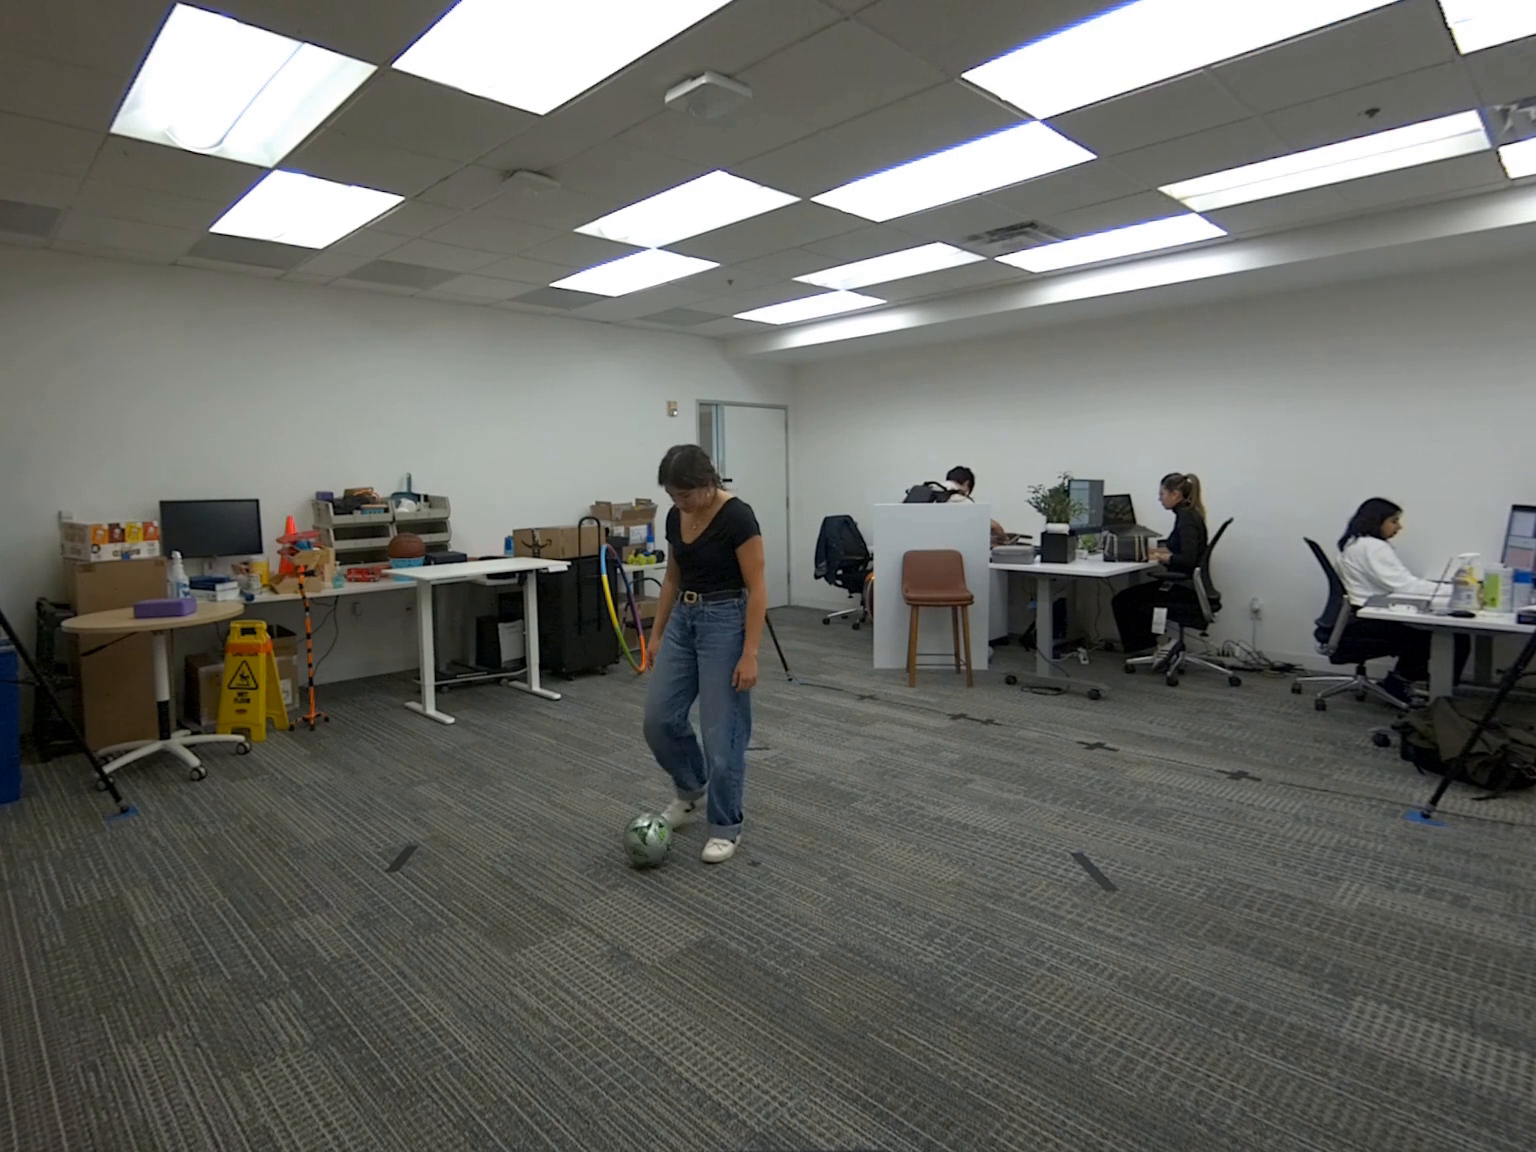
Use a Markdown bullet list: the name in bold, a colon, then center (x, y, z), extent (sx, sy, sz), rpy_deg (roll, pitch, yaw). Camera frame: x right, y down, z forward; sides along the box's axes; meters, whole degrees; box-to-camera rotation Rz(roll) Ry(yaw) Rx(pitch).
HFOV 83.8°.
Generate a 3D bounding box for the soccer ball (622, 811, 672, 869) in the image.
- **soccer ball**: center (-0.434, 0.959, 3.114), extent (0.187, 0.187, 0.188), rpy_deg (-1, 5, -2)
